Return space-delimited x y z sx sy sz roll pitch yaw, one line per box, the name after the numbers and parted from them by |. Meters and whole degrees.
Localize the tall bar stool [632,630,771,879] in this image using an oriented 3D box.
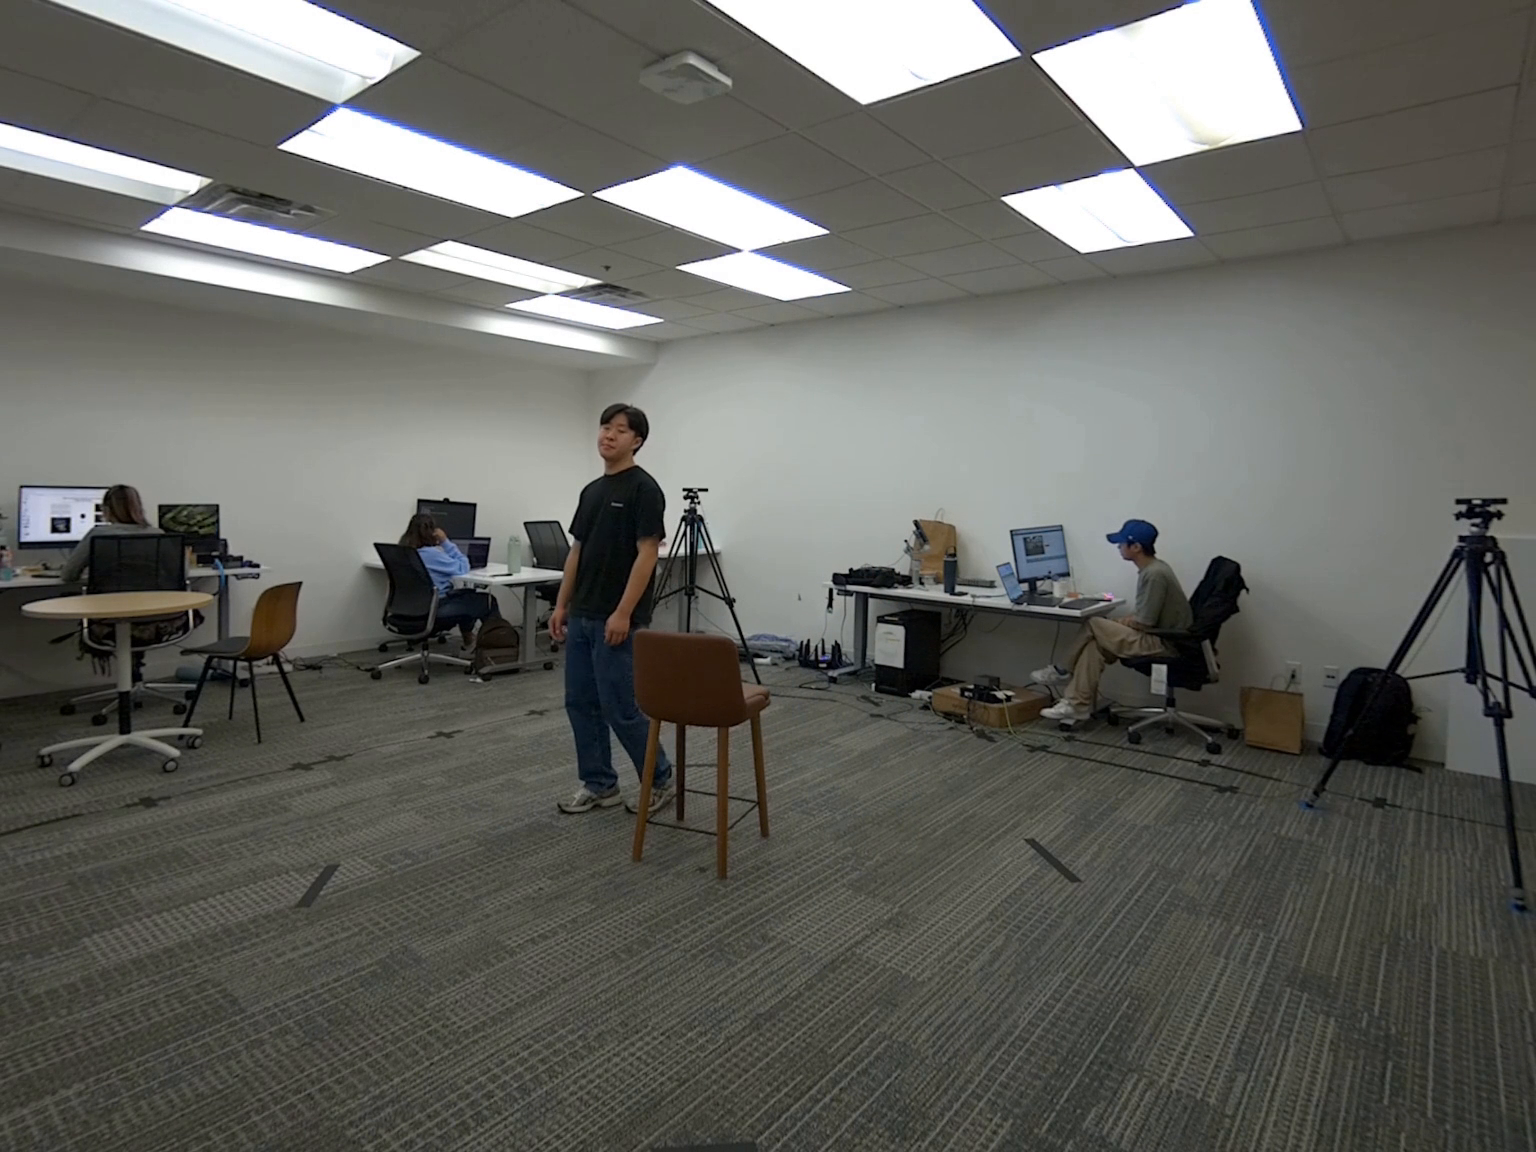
-0.265 0.617 3.282 0.467 0.886 0.459 2 4 22 | tall bar stool
